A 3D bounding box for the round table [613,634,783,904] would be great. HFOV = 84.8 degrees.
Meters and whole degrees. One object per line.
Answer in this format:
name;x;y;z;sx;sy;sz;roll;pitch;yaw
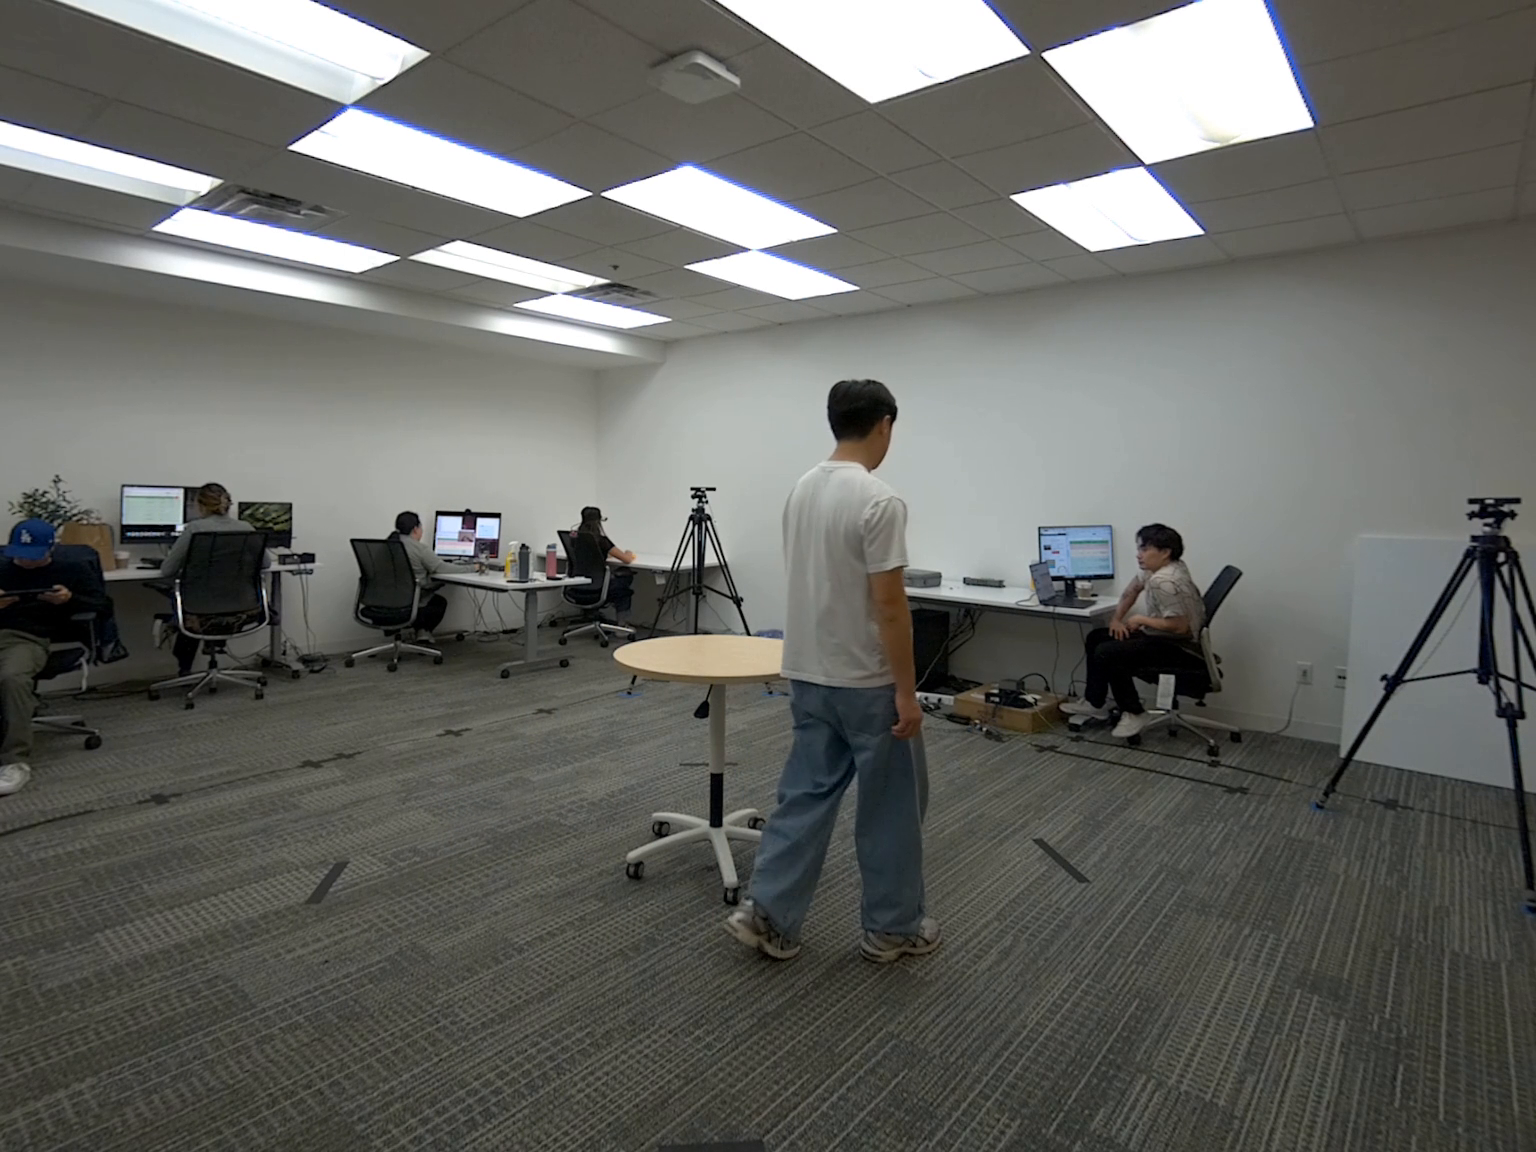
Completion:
round table;-0.201;0.673;3.136;0.763;0.791;0.767;1;4;-2
